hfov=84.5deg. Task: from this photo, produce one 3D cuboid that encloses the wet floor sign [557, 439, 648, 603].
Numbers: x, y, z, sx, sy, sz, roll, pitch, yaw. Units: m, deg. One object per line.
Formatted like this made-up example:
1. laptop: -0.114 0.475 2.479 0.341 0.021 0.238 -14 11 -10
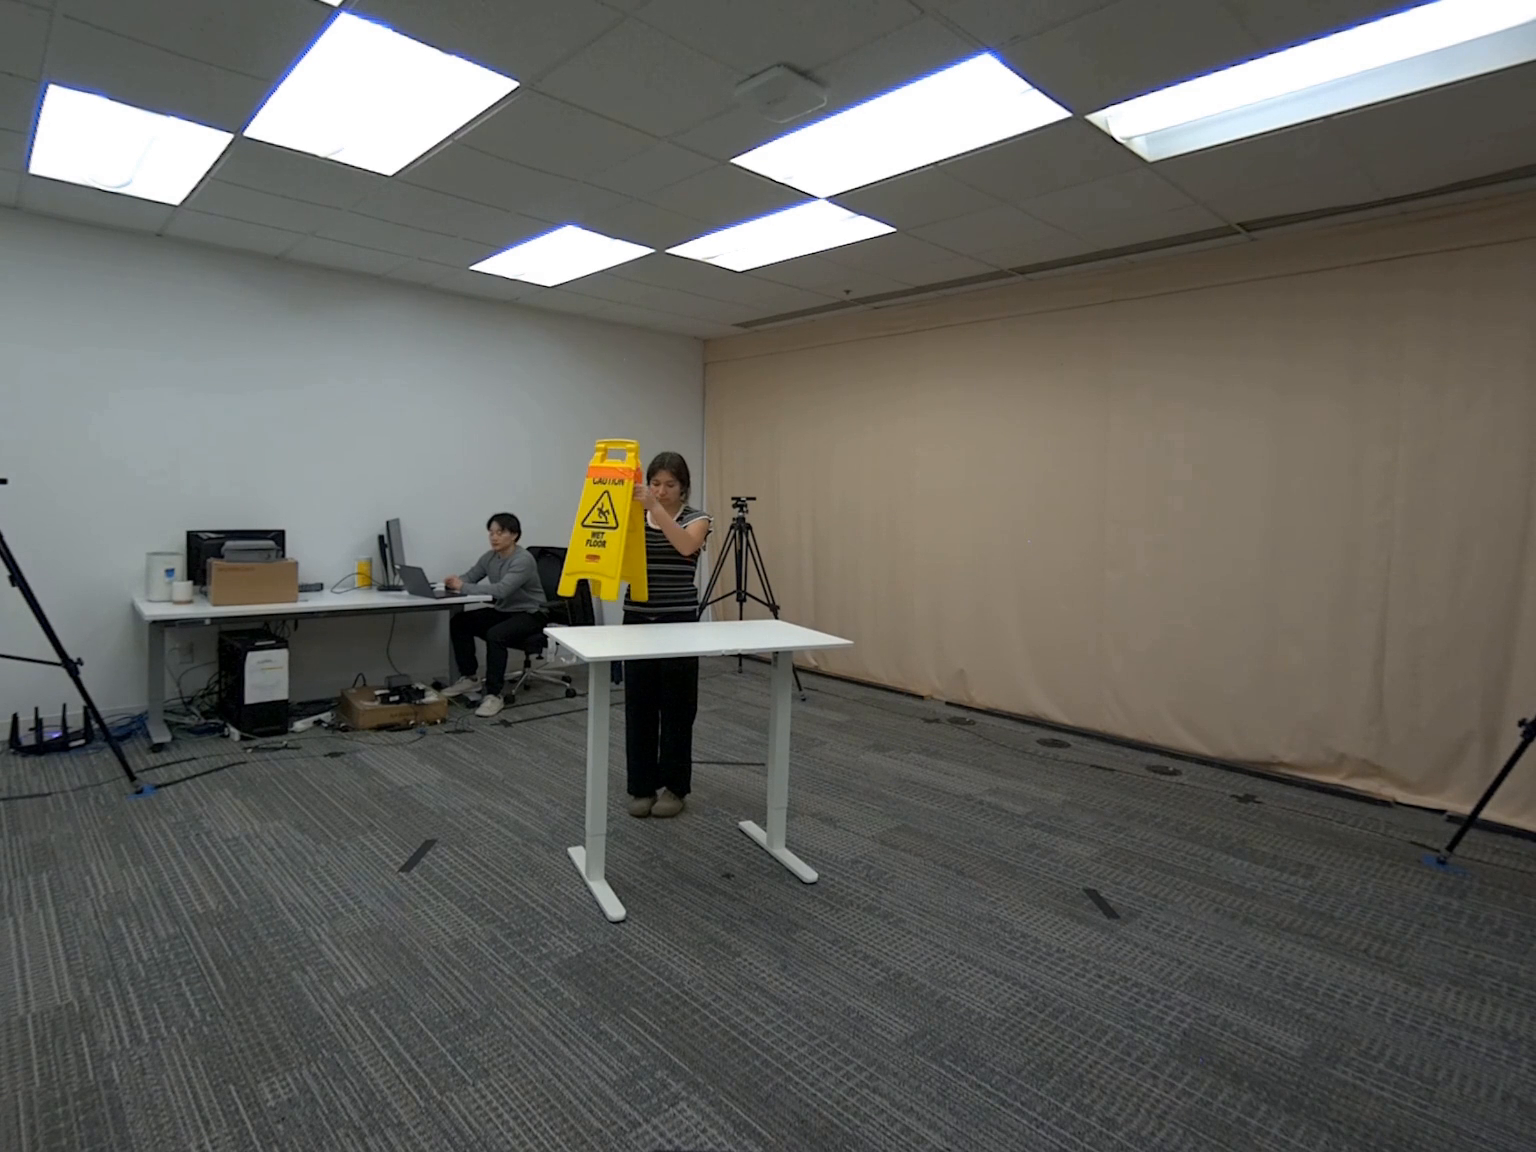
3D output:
1. wet floor sign: -0.654 -0.228 3.434 0.287 0.647 0.284 3 -2 23
